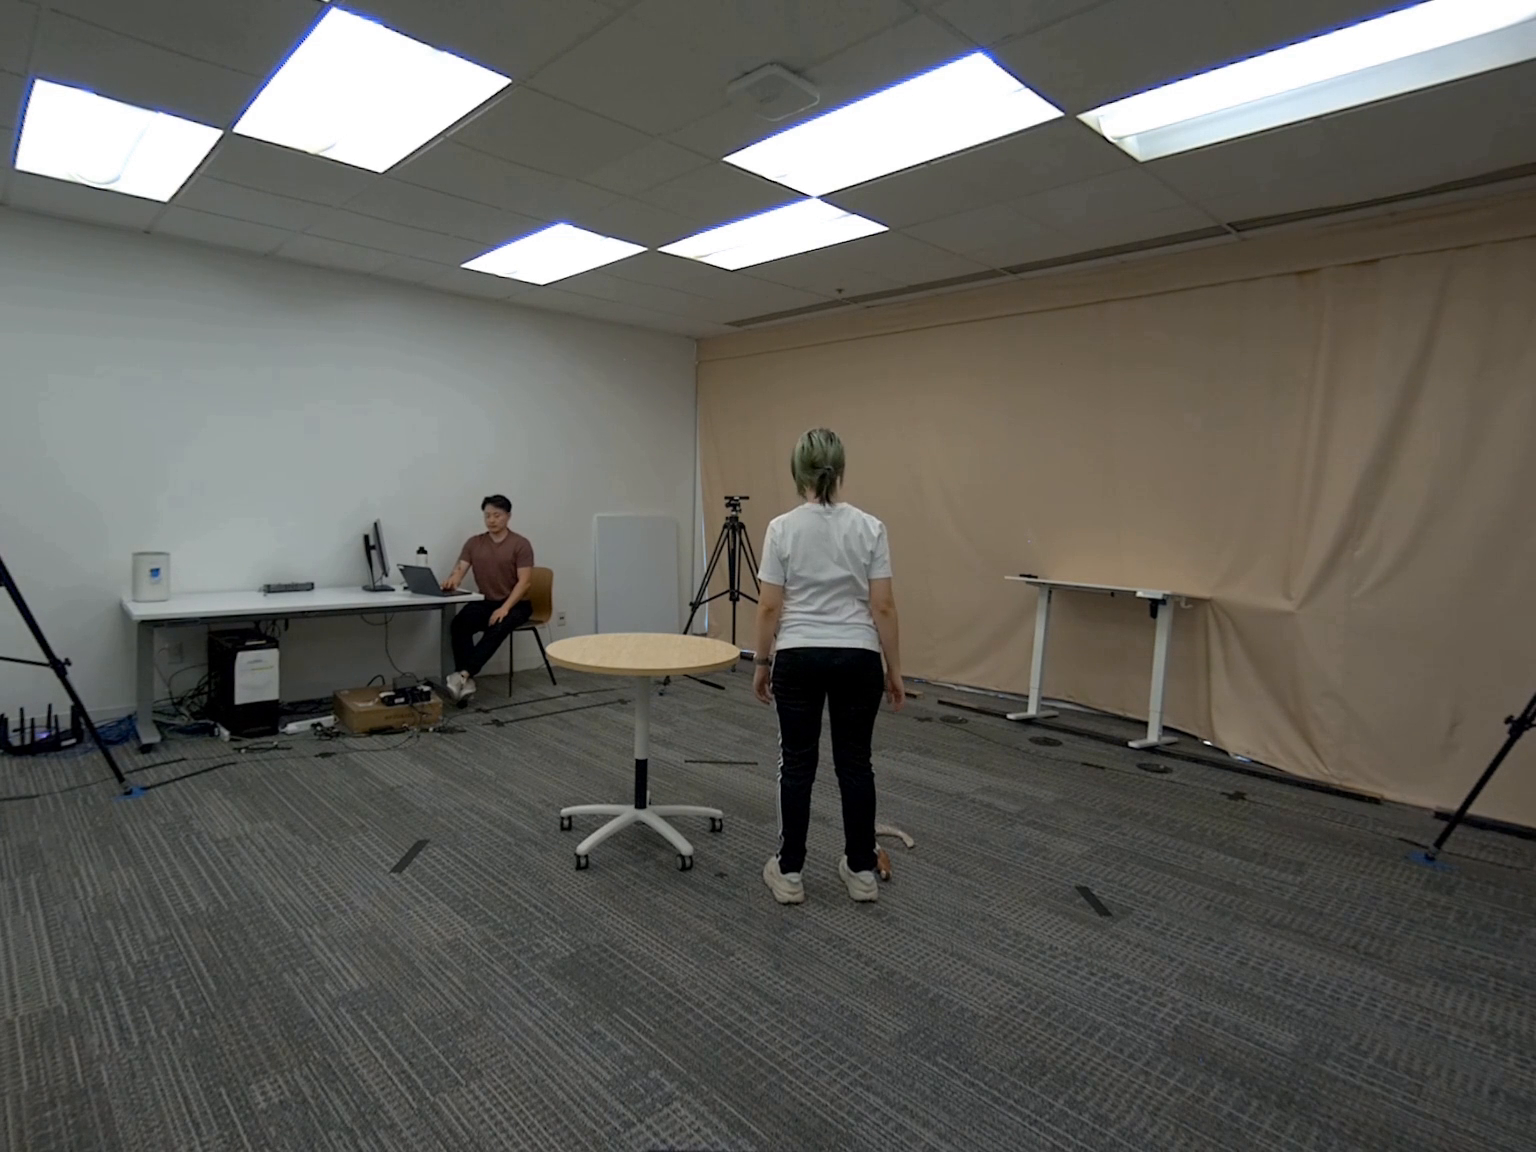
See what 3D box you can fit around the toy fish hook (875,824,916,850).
[{"bbox_3d":[0.478,1.081,3.320,0.225,0.048,0.508,0,5,-1],"label":"toy fish hook"}]
